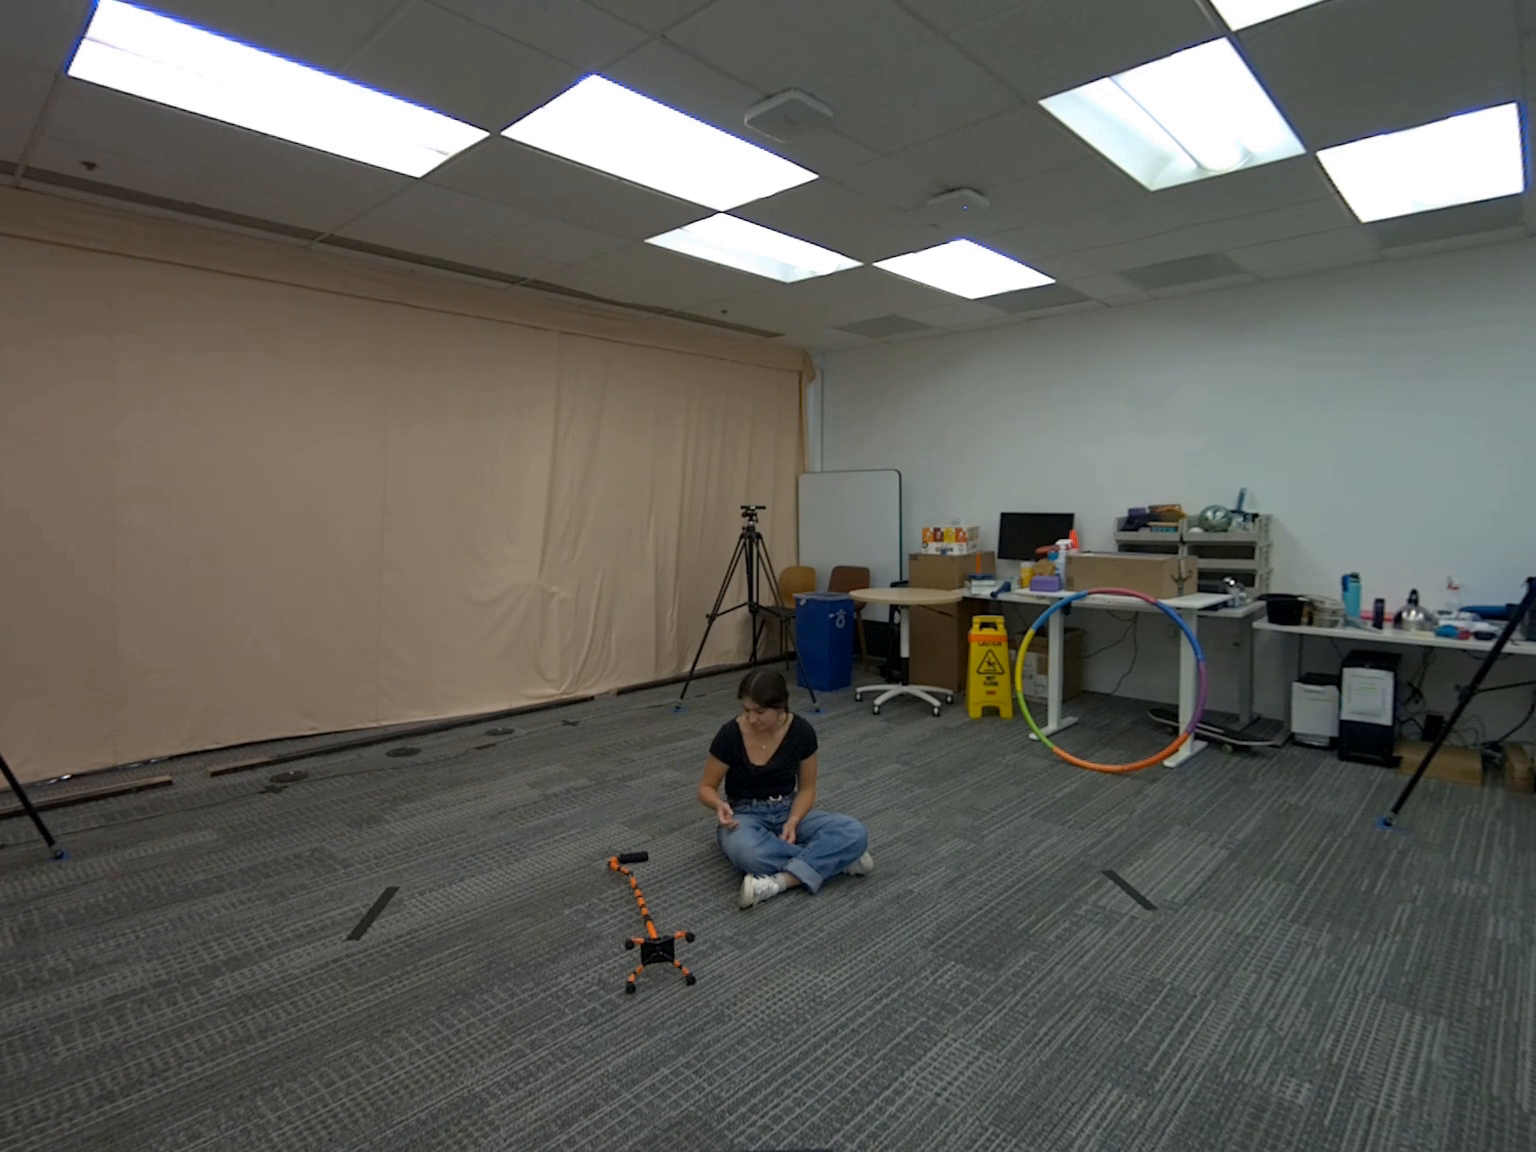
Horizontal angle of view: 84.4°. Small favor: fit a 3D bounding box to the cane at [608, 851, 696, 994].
[{"bbox_3d":[-0.430,1.112,2.861,0.203,0.152,0.921,-2,0,-16],"label":"cane"}]
